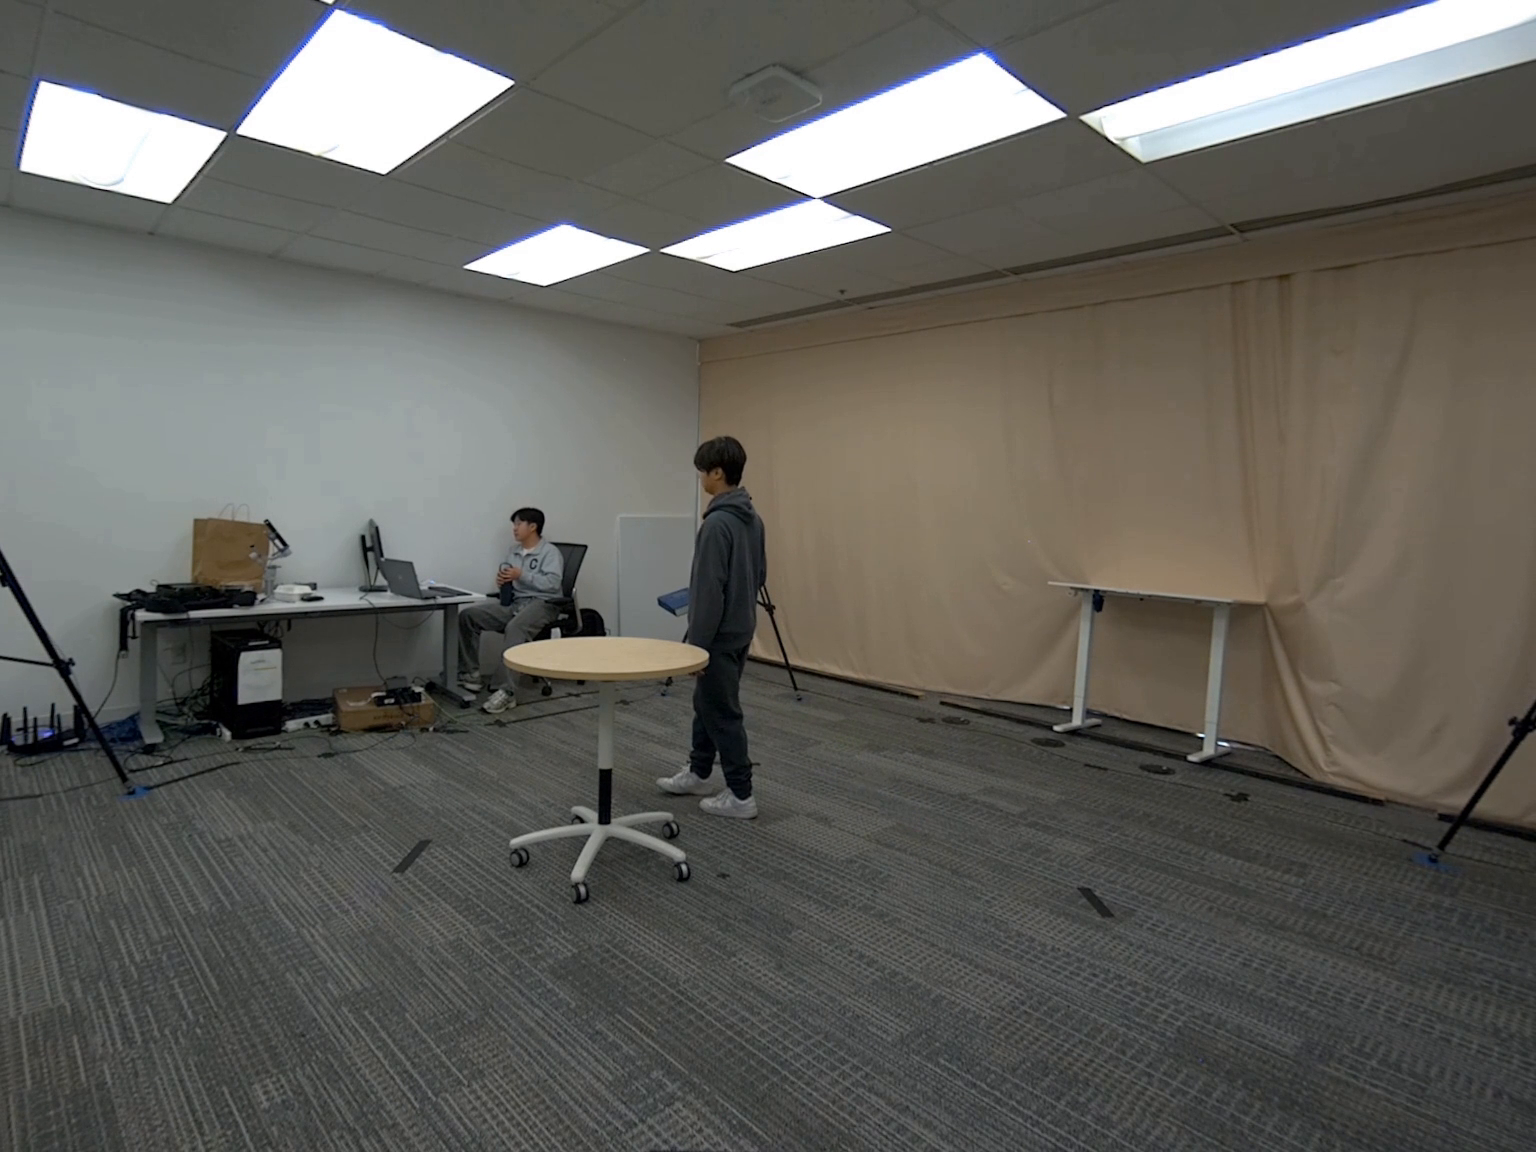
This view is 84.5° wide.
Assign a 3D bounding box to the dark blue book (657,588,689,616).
[{"bbox_3d":[-0.432,0.125,4.049,0.161,0.044,0.251,-19,18,-30],"label":"dark blue book"}]
